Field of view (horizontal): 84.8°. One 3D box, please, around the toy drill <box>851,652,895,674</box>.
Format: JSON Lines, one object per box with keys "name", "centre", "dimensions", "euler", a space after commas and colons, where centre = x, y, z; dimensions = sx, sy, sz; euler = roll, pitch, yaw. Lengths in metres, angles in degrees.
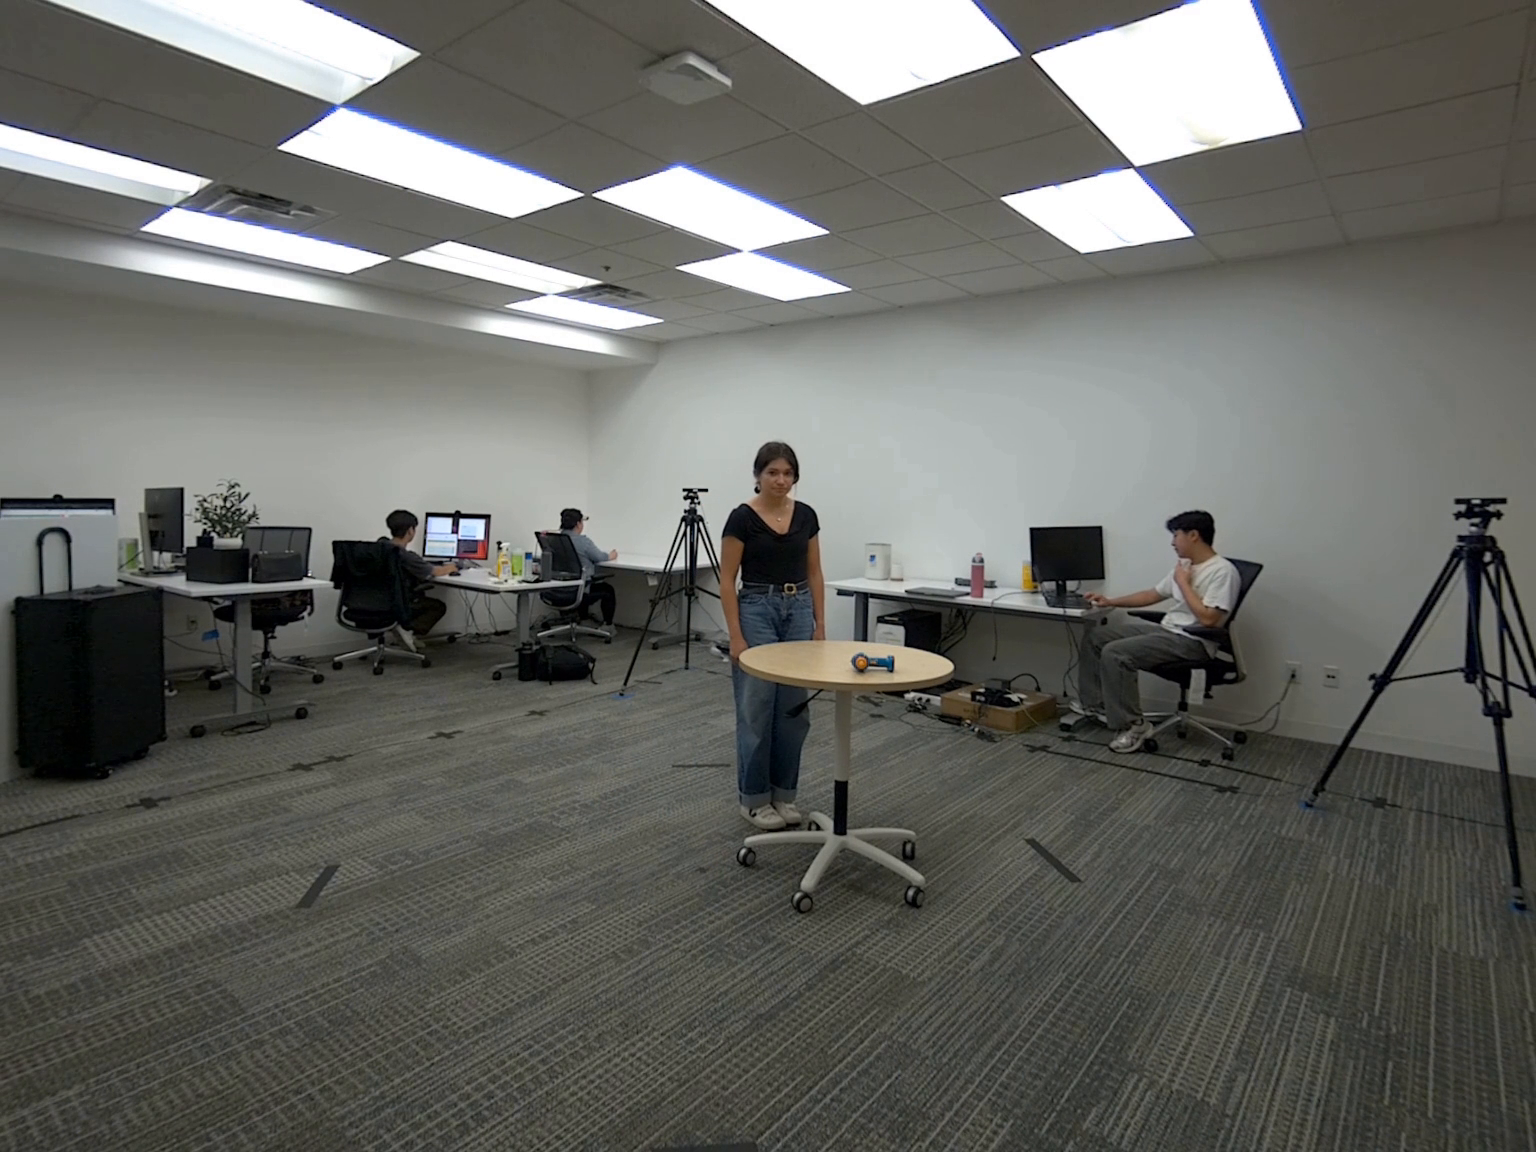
{"name": "toy drill", "centre": [0.364, 0.285, 2.875], "dimensions": [0.147, 0.061, 0.168], "euler": [2, -3, 4]}
